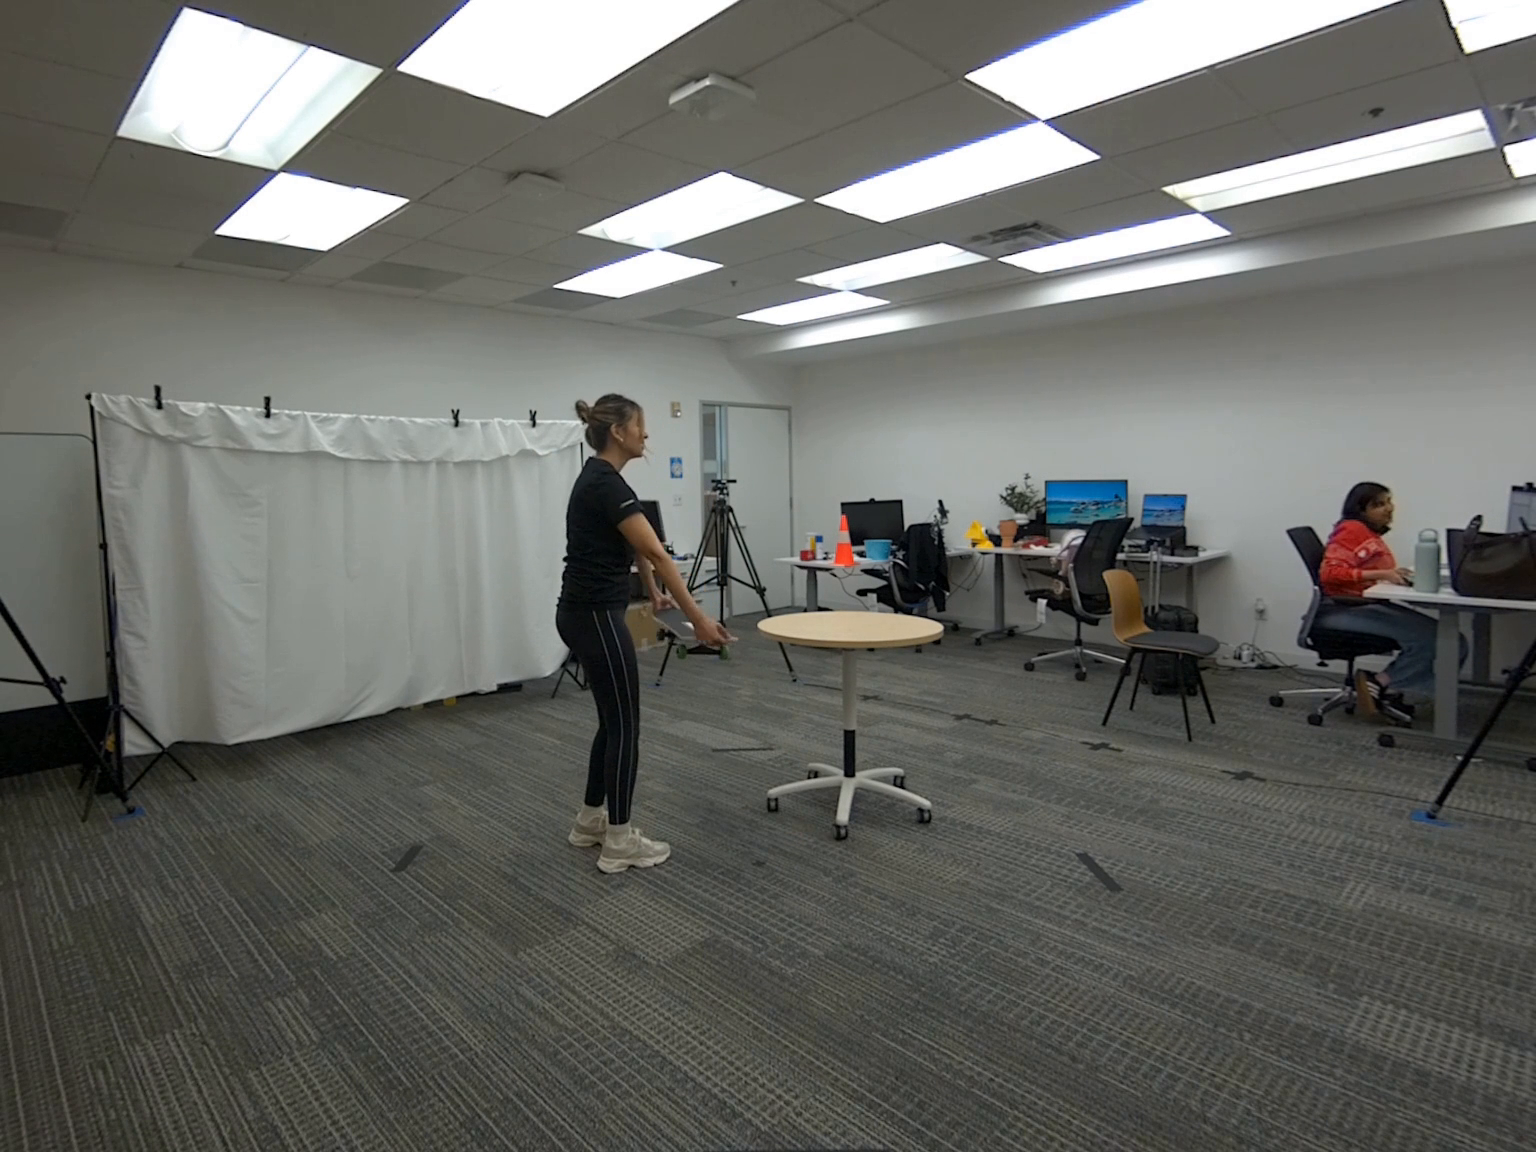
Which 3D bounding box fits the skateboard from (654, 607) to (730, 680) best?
[{"bbox_3d":[-0.291,0.222,3.216,0.190,0.110,0.800,4,4,-18],"label":"skateboard"}]
